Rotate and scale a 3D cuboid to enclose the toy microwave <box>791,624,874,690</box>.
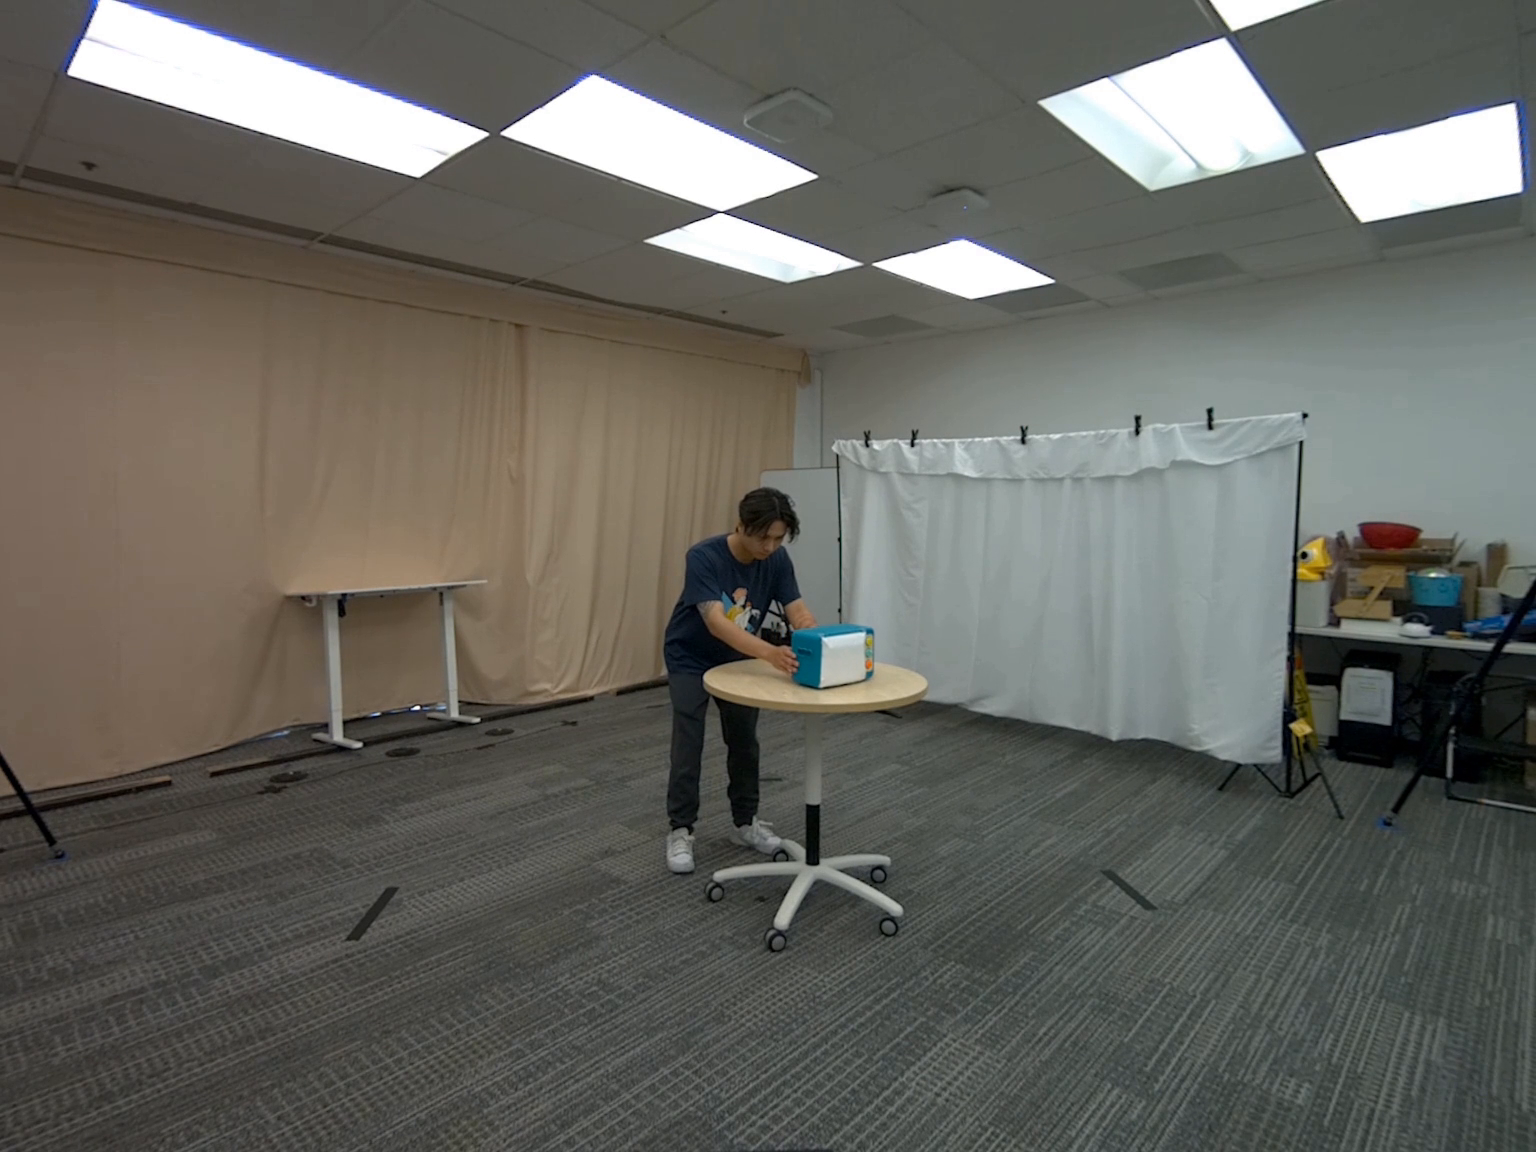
[{"bbox_3d":[0.231,0.268,2.825,0.277,0.183,0.157,-3,6,-40],"label":"toy microwave"}]
